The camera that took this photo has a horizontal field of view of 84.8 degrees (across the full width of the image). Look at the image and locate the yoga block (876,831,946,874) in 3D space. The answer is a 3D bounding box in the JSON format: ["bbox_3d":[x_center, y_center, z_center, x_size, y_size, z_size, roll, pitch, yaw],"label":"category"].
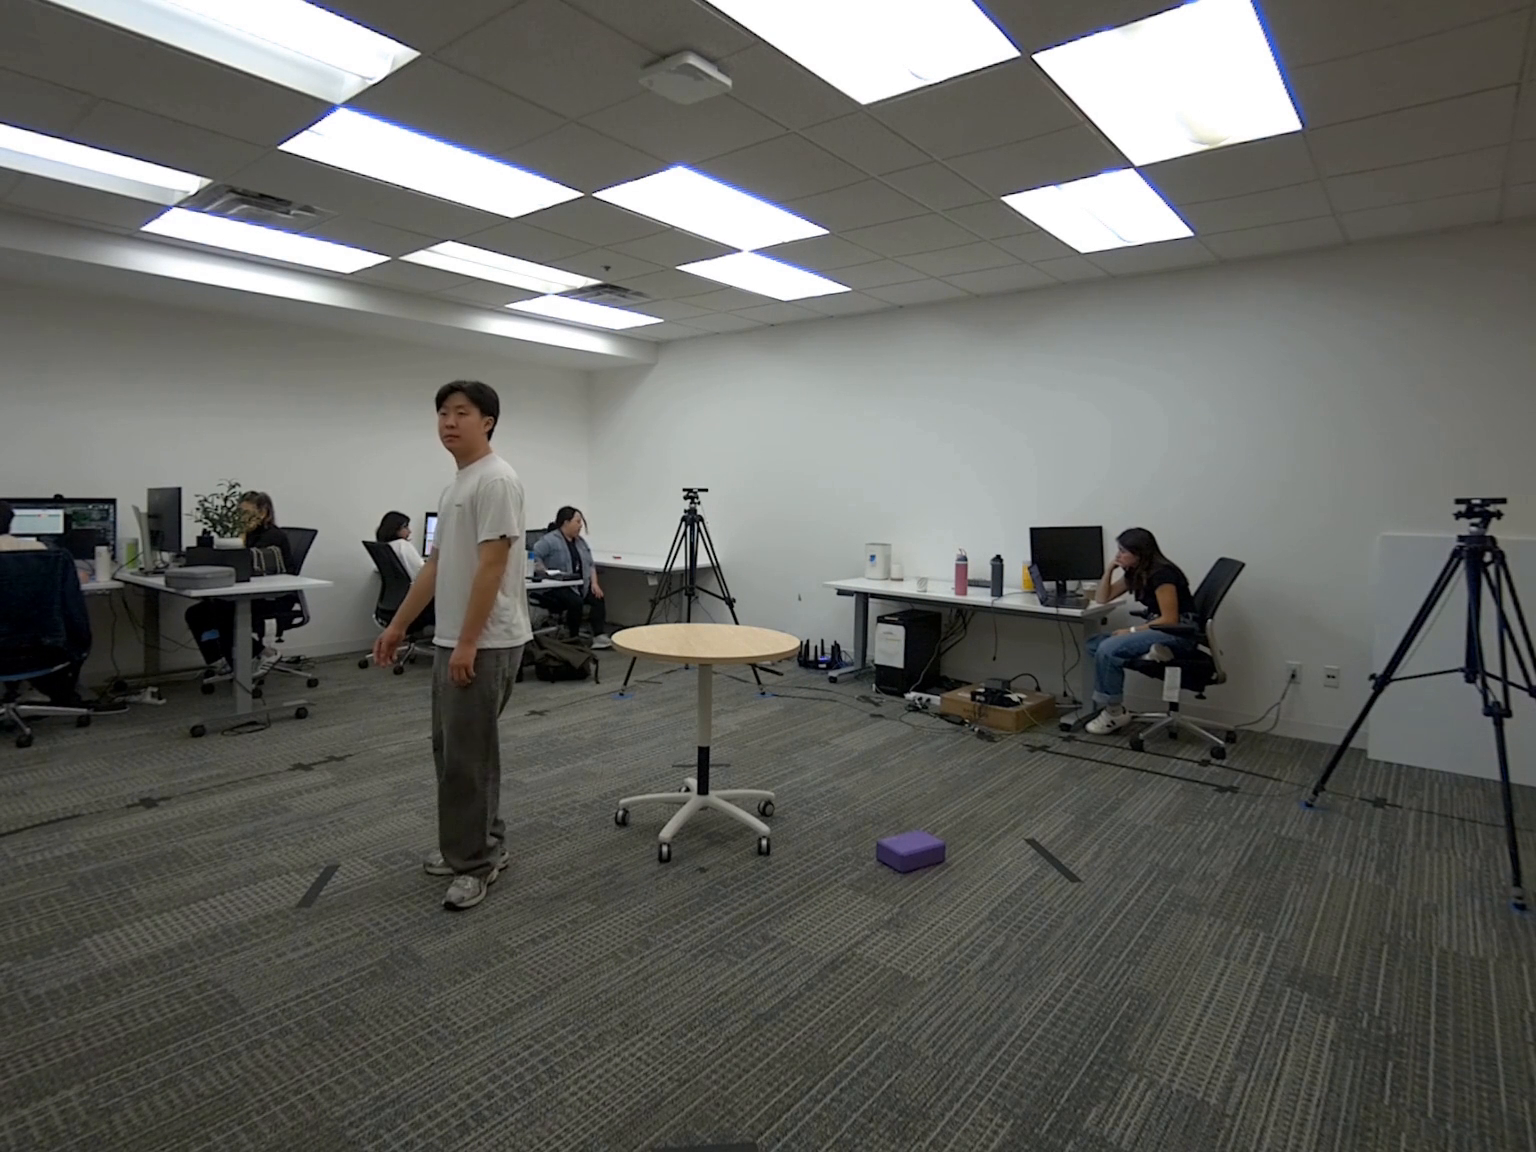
[{"bbox_3d":[0.546,1.037,3.219,0.223,0.076,0.154,-2,6,-32],"label":"yoga block"}]
